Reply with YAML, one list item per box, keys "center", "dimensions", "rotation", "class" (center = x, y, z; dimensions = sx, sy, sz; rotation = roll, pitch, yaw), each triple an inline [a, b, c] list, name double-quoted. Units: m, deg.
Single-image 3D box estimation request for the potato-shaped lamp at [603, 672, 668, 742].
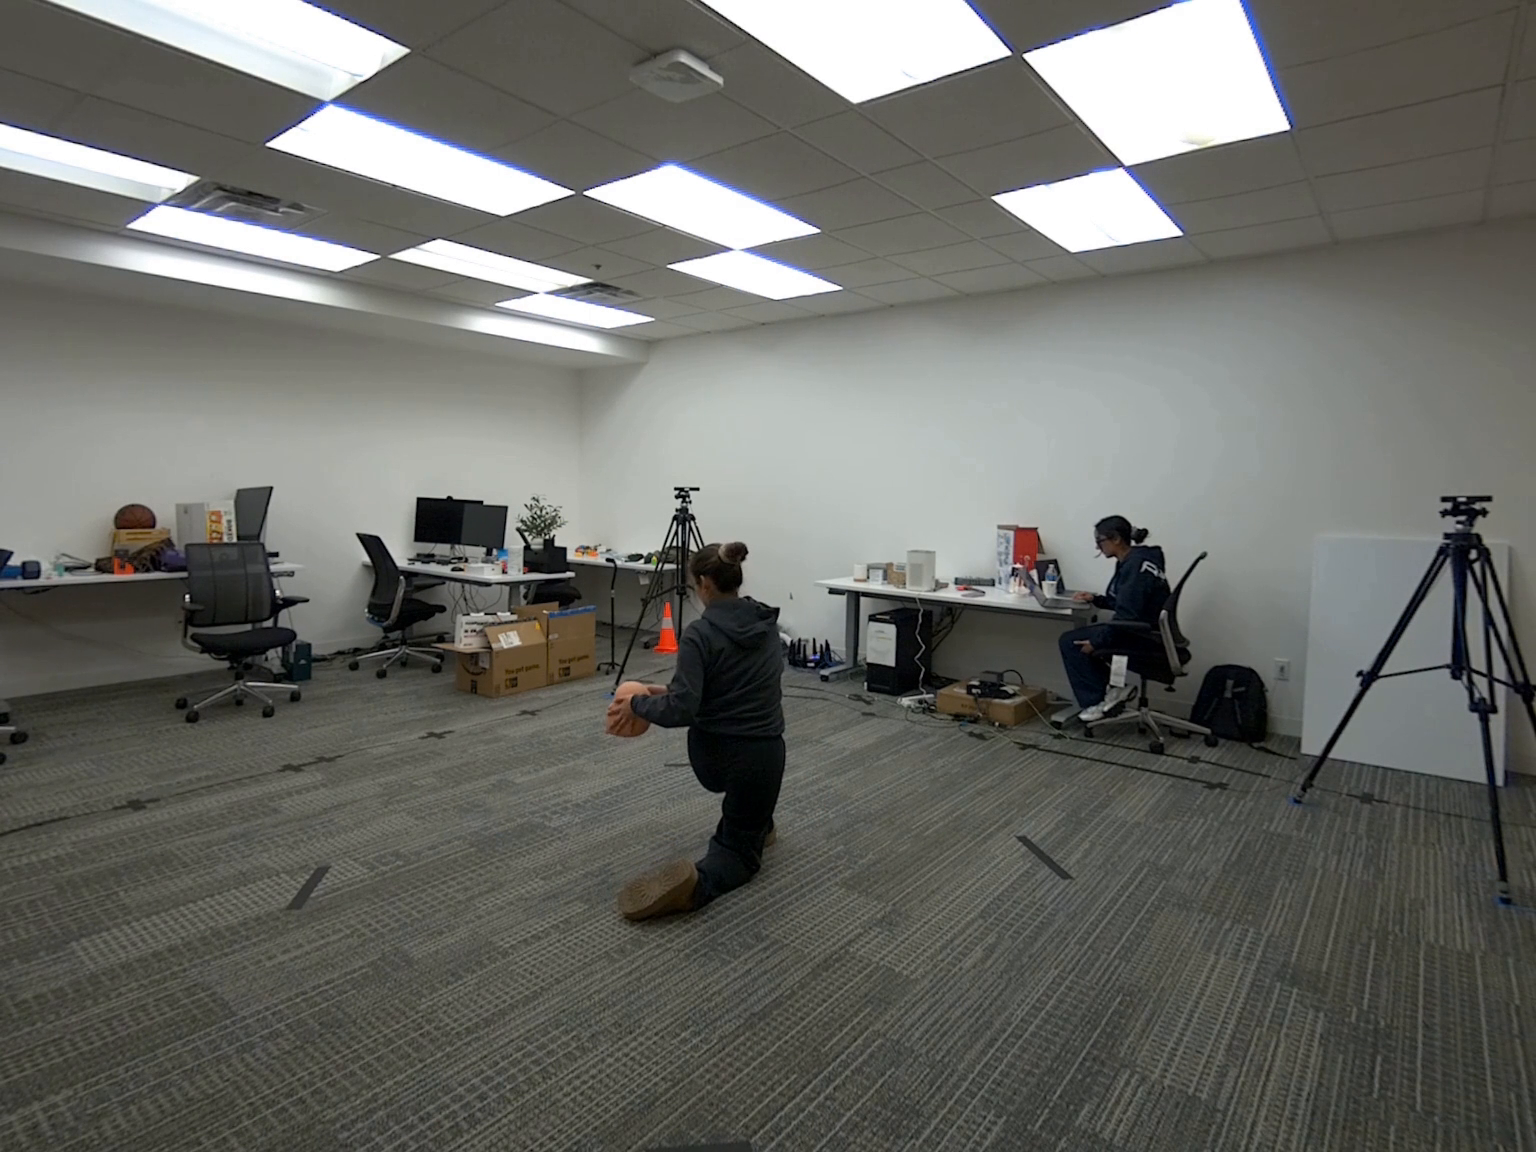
- center: [-0.499, 0.485, 3.158]
  dimensions: [0.176, 0.197, 0.161]
  rotation: [5, 6, 26]
  class: "potato-shaped lamp"
